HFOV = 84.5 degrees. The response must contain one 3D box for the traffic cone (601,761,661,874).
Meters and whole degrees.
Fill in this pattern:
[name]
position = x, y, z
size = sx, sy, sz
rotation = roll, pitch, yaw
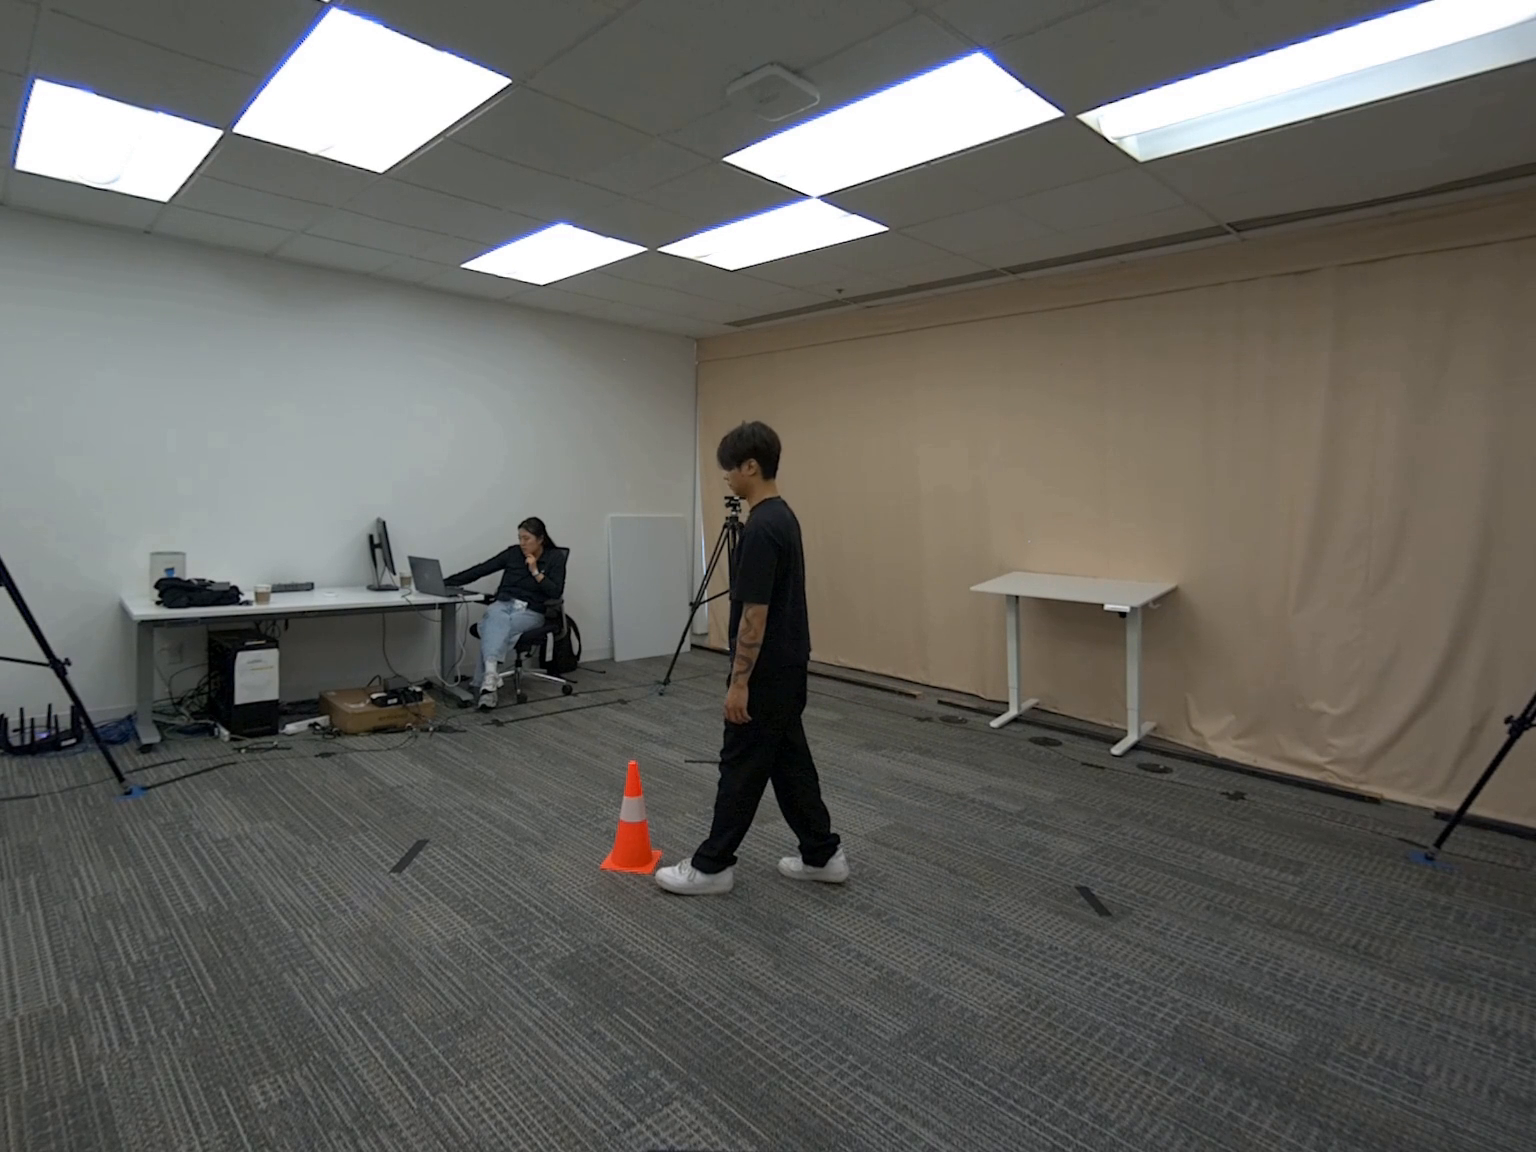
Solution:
[traffic cone]
position = -0.511, 0.894, 3.220
size = 0.205, 0.383, 0.203
rotation = 3, 2, 9
